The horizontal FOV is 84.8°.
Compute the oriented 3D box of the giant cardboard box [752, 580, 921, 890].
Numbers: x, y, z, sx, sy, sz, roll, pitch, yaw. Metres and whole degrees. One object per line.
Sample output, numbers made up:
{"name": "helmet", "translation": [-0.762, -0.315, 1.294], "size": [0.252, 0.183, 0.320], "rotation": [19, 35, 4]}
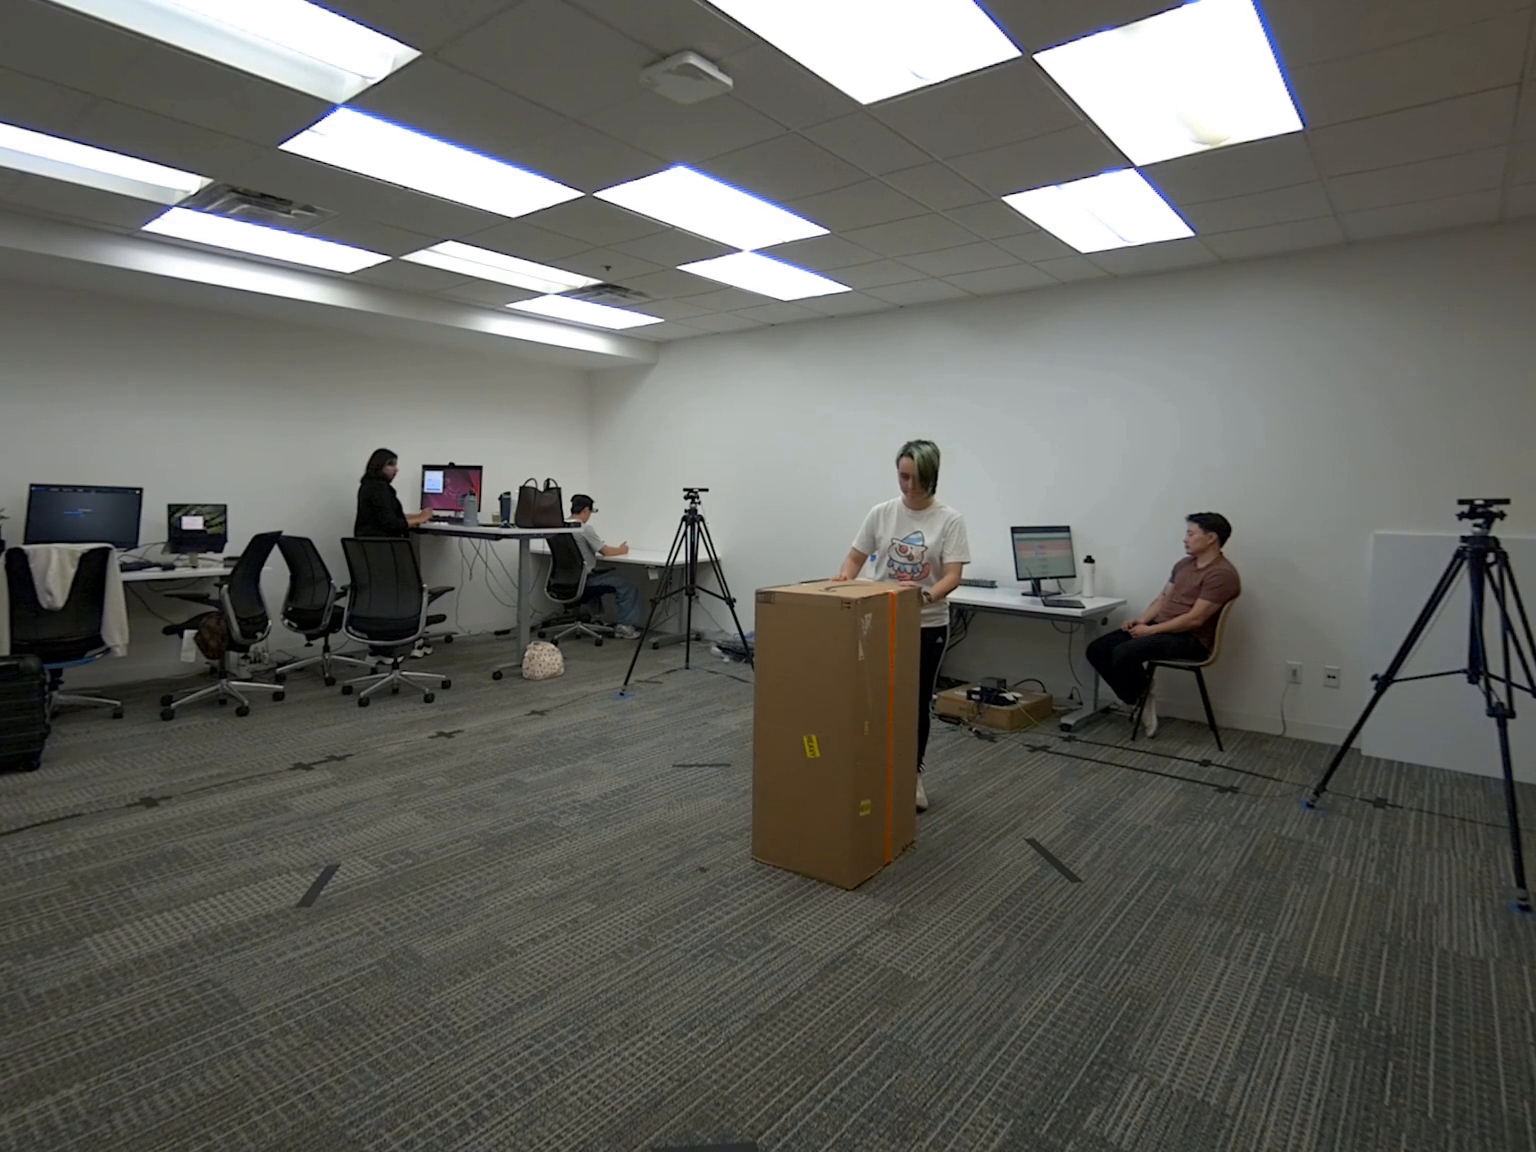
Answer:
{"name": "giant cardboard box", "translation": [0.269, 0.555, 3.284], "size": [0.460, 1.025, 0.567], "rotation": [2, 3, 33]}
